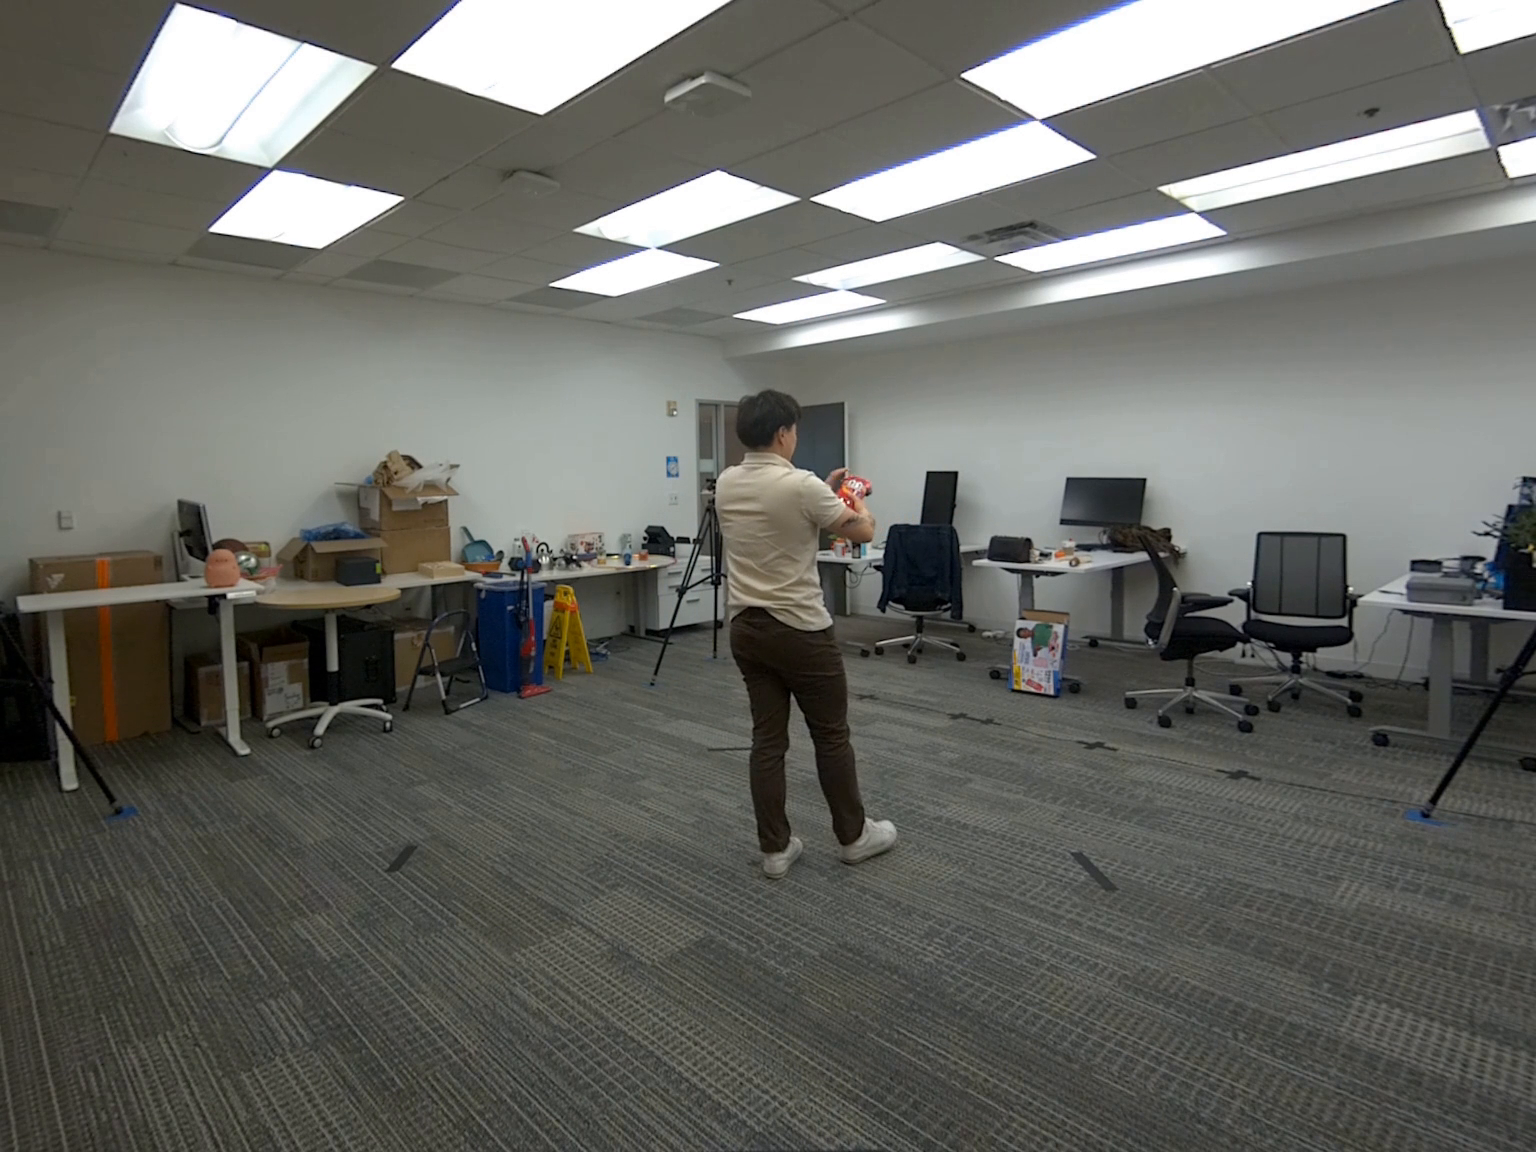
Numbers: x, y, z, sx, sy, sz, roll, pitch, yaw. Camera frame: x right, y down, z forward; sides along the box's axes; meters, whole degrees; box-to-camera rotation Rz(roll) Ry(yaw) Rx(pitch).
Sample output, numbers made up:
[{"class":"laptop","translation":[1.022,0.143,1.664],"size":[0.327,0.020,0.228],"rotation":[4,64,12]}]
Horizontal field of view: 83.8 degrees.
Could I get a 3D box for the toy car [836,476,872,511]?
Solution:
[{"class":"toy car","translation":[0.302,-0.287,3.278],"size":[0.133,0.081,0.255],"rotation":[19,41,18]}]
